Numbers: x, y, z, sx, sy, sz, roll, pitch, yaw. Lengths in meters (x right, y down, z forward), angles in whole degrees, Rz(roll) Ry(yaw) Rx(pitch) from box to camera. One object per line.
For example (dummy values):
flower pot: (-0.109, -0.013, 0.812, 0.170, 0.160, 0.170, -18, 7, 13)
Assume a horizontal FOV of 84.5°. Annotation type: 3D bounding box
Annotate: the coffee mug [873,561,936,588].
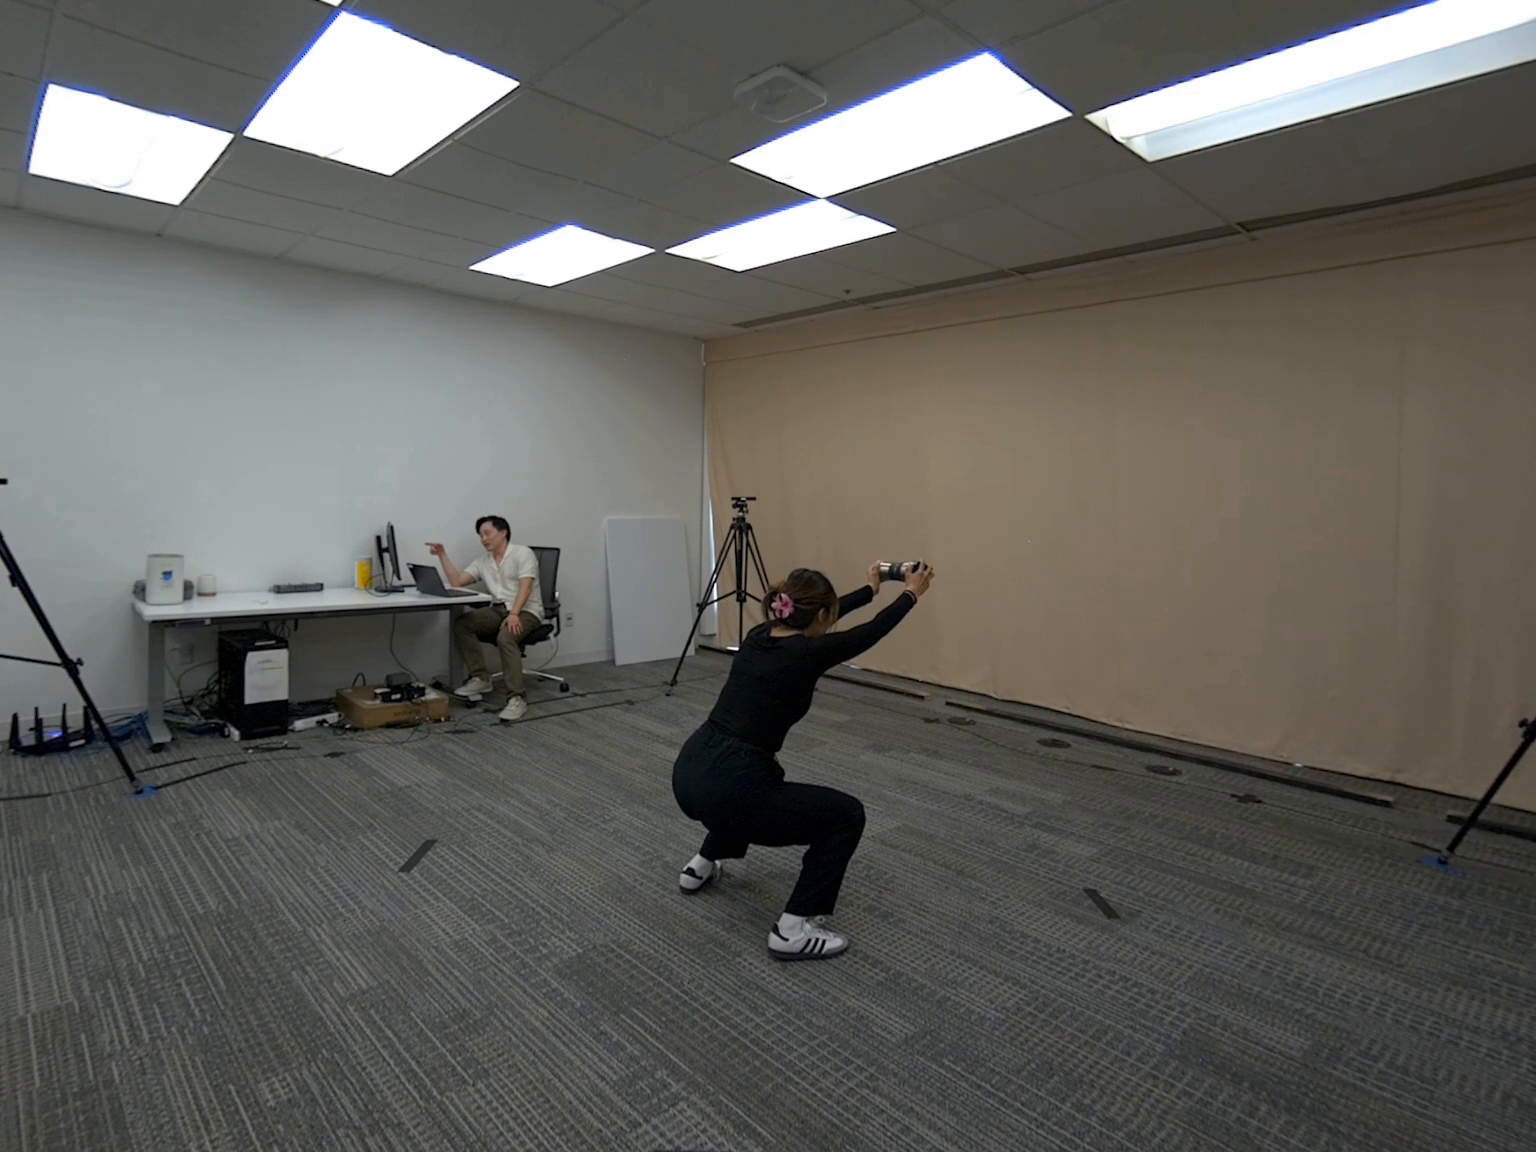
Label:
coffee mug: (0.516, -0.008, 3.228, 0.119, 0.088, 0.208, 3, 0, -36)
